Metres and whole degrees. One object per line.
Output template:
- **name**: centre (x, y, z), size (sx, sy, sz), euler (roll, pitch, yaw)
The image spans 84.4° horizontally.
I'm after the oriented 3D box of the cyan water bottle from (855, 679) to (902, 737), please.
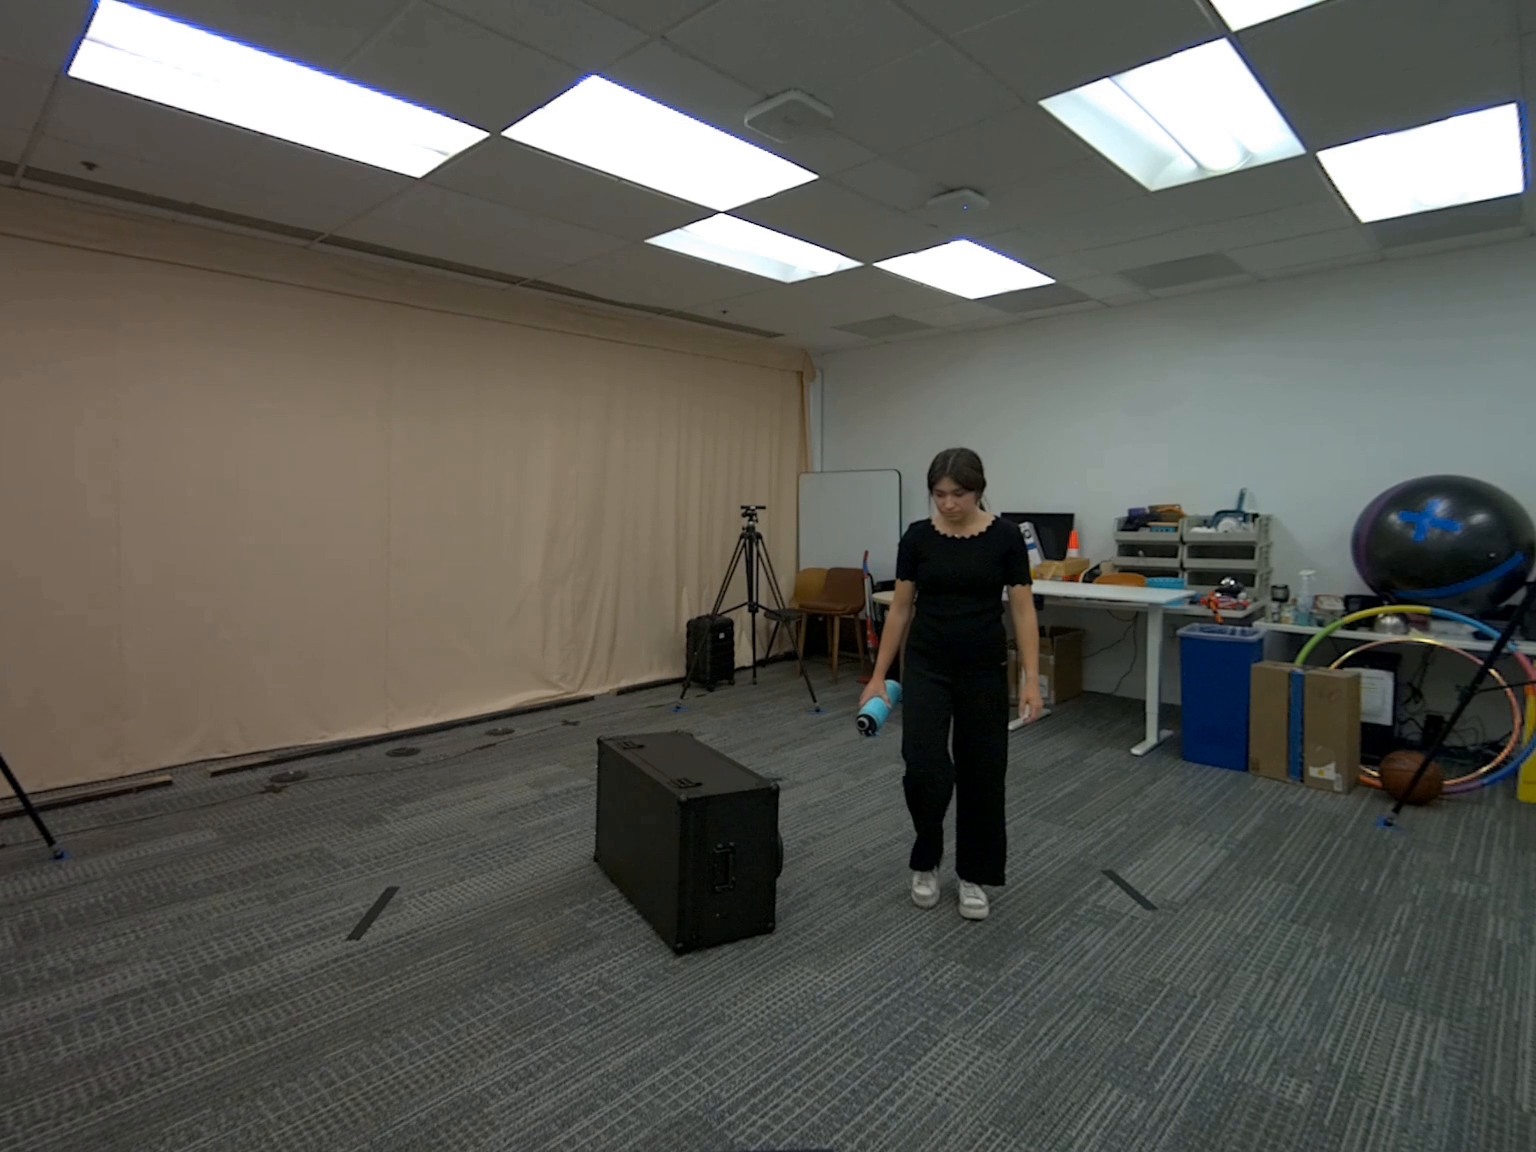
- **cyan water bottle**: centre (0.394, 0.473, 2.958), size (0.095, 0.091, 0.279), euler (2, 22, 30)
